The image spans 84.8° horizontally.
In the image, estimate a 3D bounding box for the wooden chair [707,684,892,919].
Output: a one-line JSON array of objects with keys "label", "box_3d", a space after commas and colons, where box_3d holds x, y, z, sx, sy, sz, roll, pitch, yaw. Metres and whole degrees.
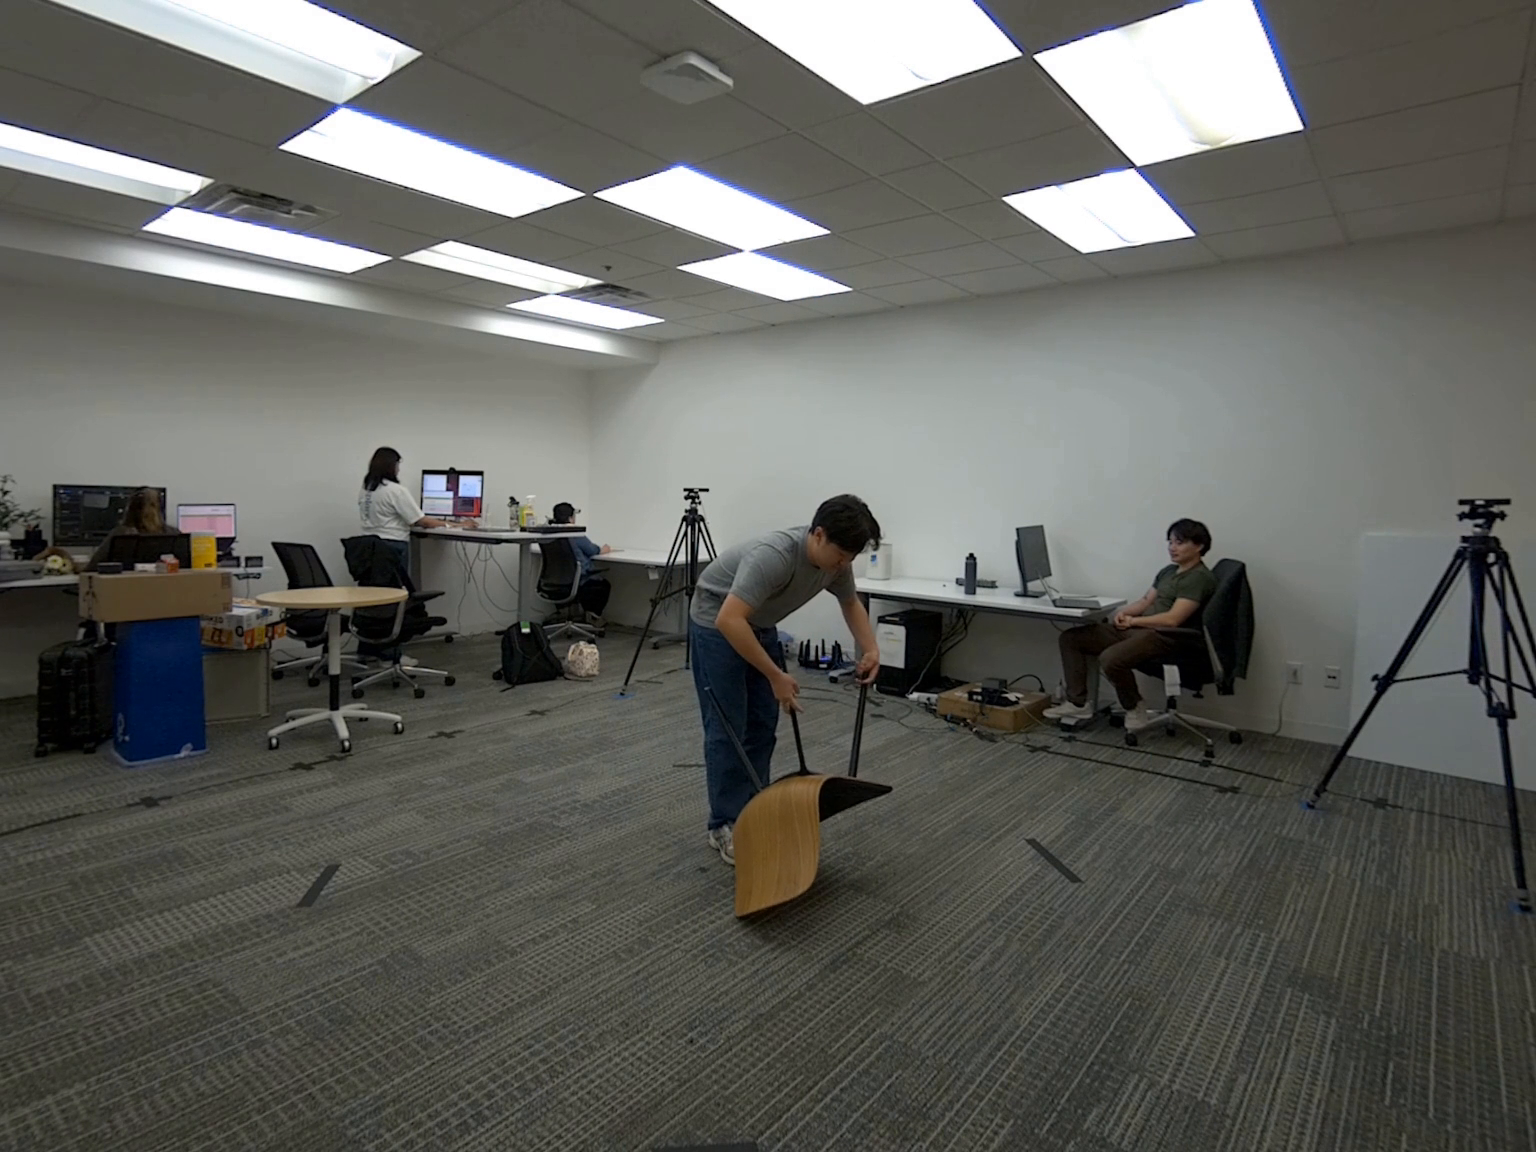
[{"label": "wooden chair", "box_3d": [0.131, 0.754, 3.015, 0.504, 0.904, 0.481, 22, -45, -33]}]
